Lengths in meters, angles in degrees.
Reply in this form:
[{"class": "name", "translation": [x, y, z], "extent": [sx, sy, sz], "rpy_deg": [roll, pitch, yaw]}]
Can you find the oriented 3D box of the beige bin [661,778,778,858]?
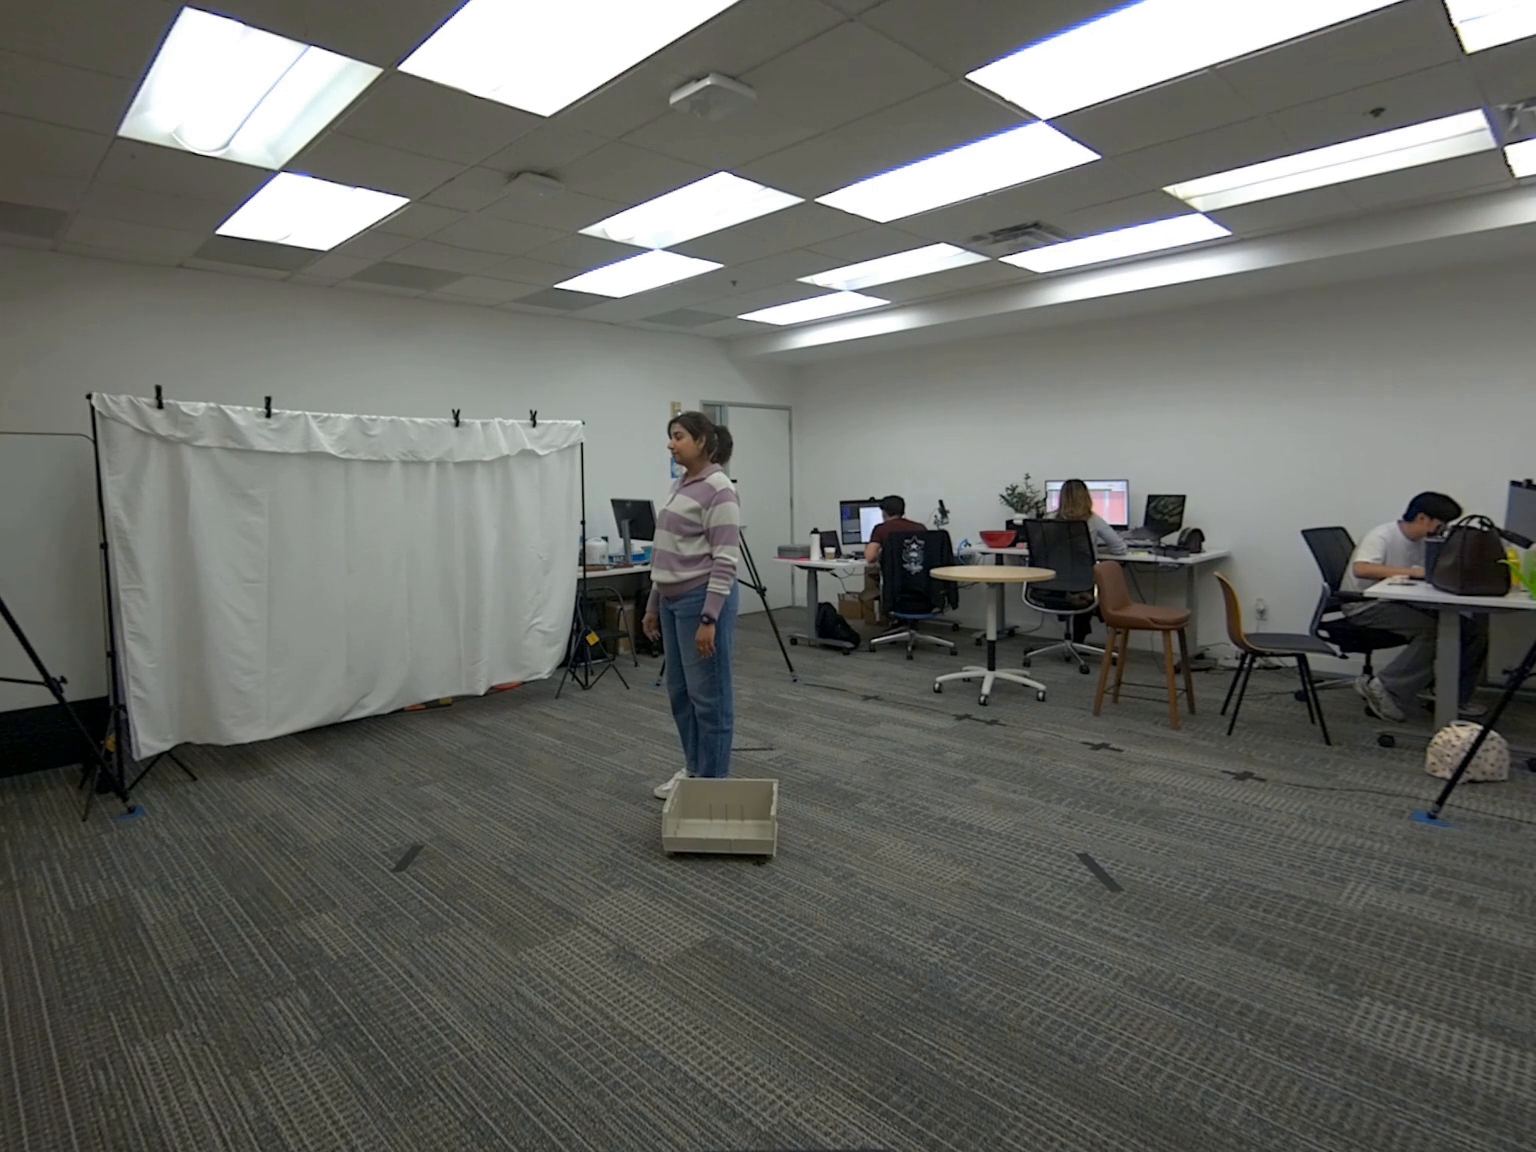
[{"class": "beige bin", "translation": [-0.174, 0.936, 3.305], "extent": [0.424, 0.188, 0.377], "rpy_deg": [0, 5, 4]}]
